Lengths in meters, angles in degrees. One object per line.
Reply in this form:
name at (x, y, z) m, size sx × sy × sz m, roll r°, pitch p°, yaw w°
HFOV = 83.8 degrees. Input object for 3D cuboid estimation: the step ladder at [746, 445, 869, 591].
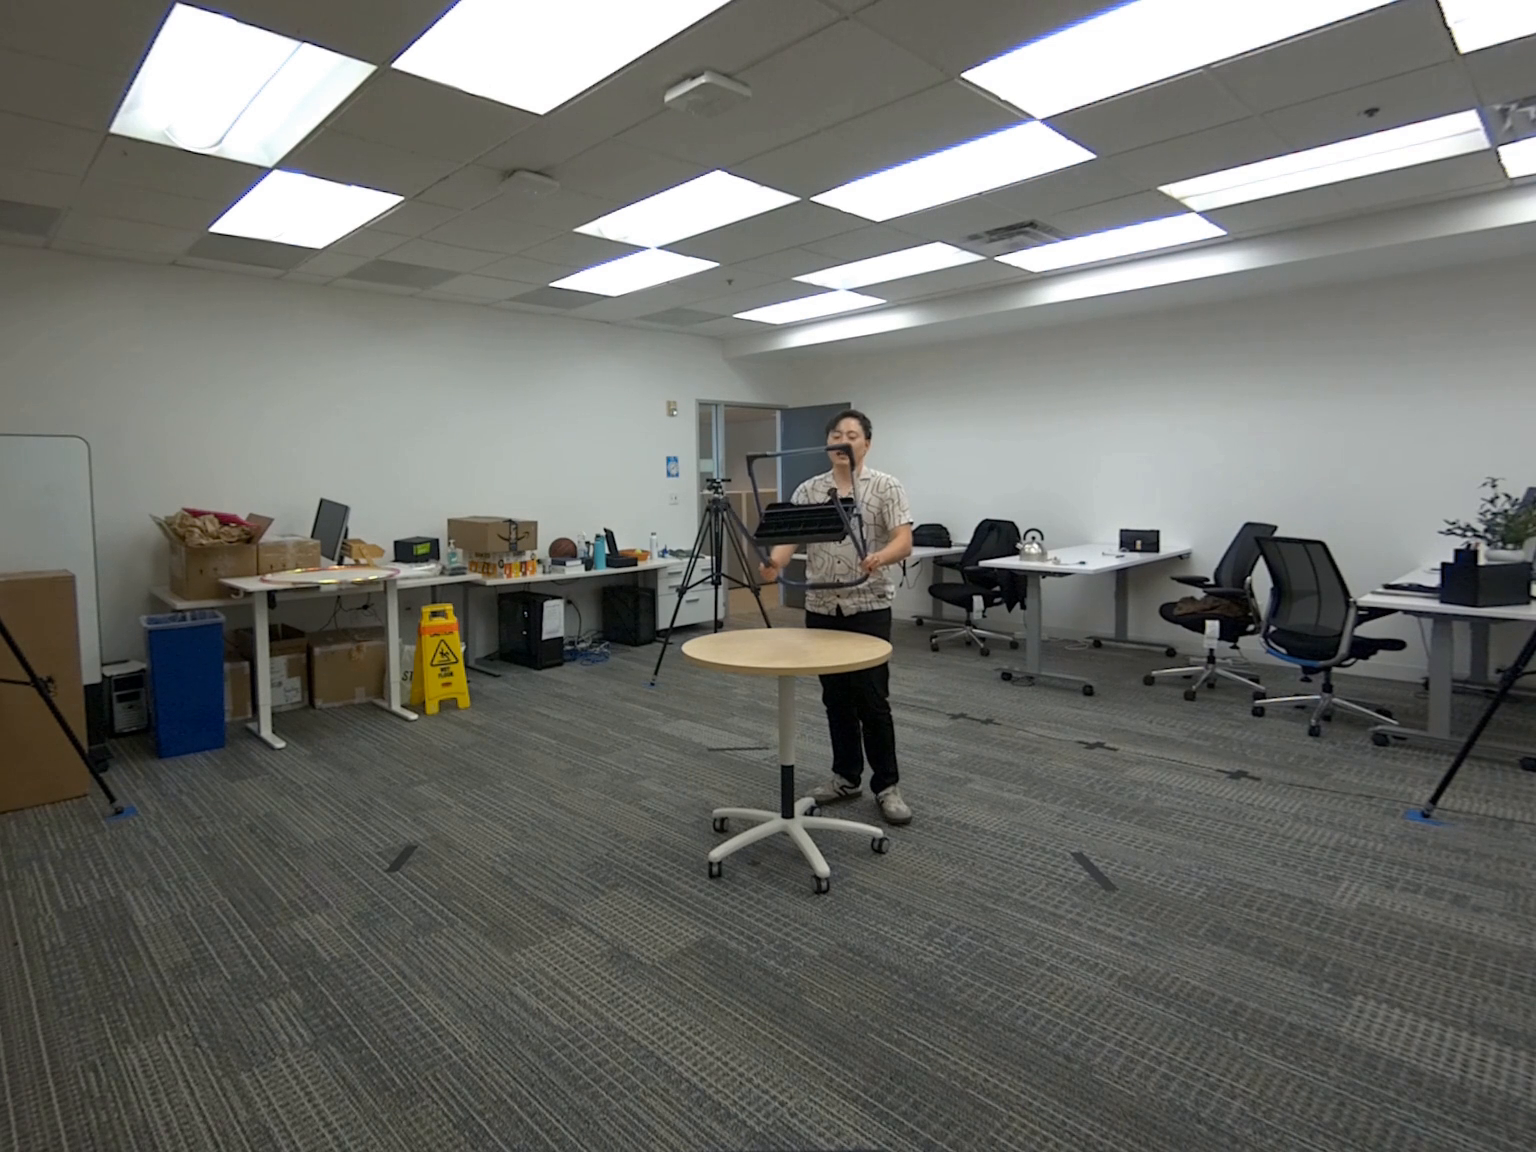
step ladder at (0.148, -0.140, 3.217) m, size 0.439 × 0.587 × 0.353 m, roll -2°, pitch 37°, yaw 22°
